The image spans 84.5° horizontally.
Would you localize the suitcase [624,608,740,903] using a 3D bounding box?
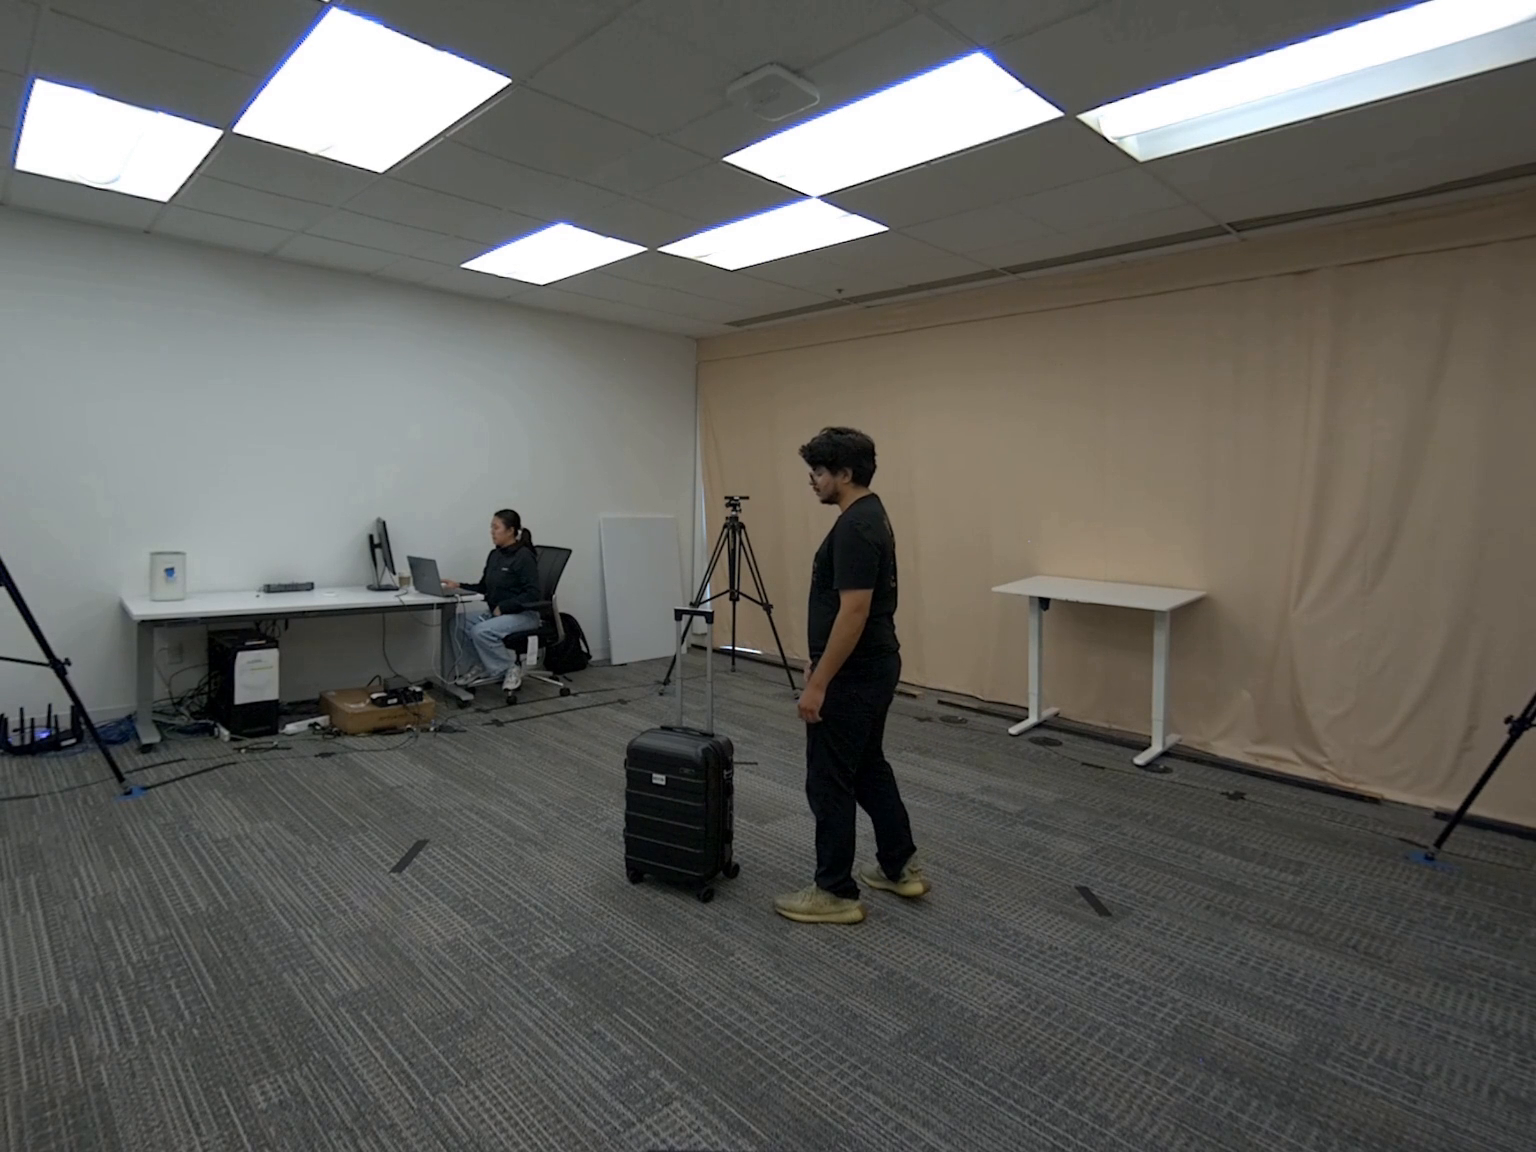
[{"bbox_3d":[-0.317,0.630,3.013,0.391,0.974,0.253,3,7,24],"label":"suitcase"}]
